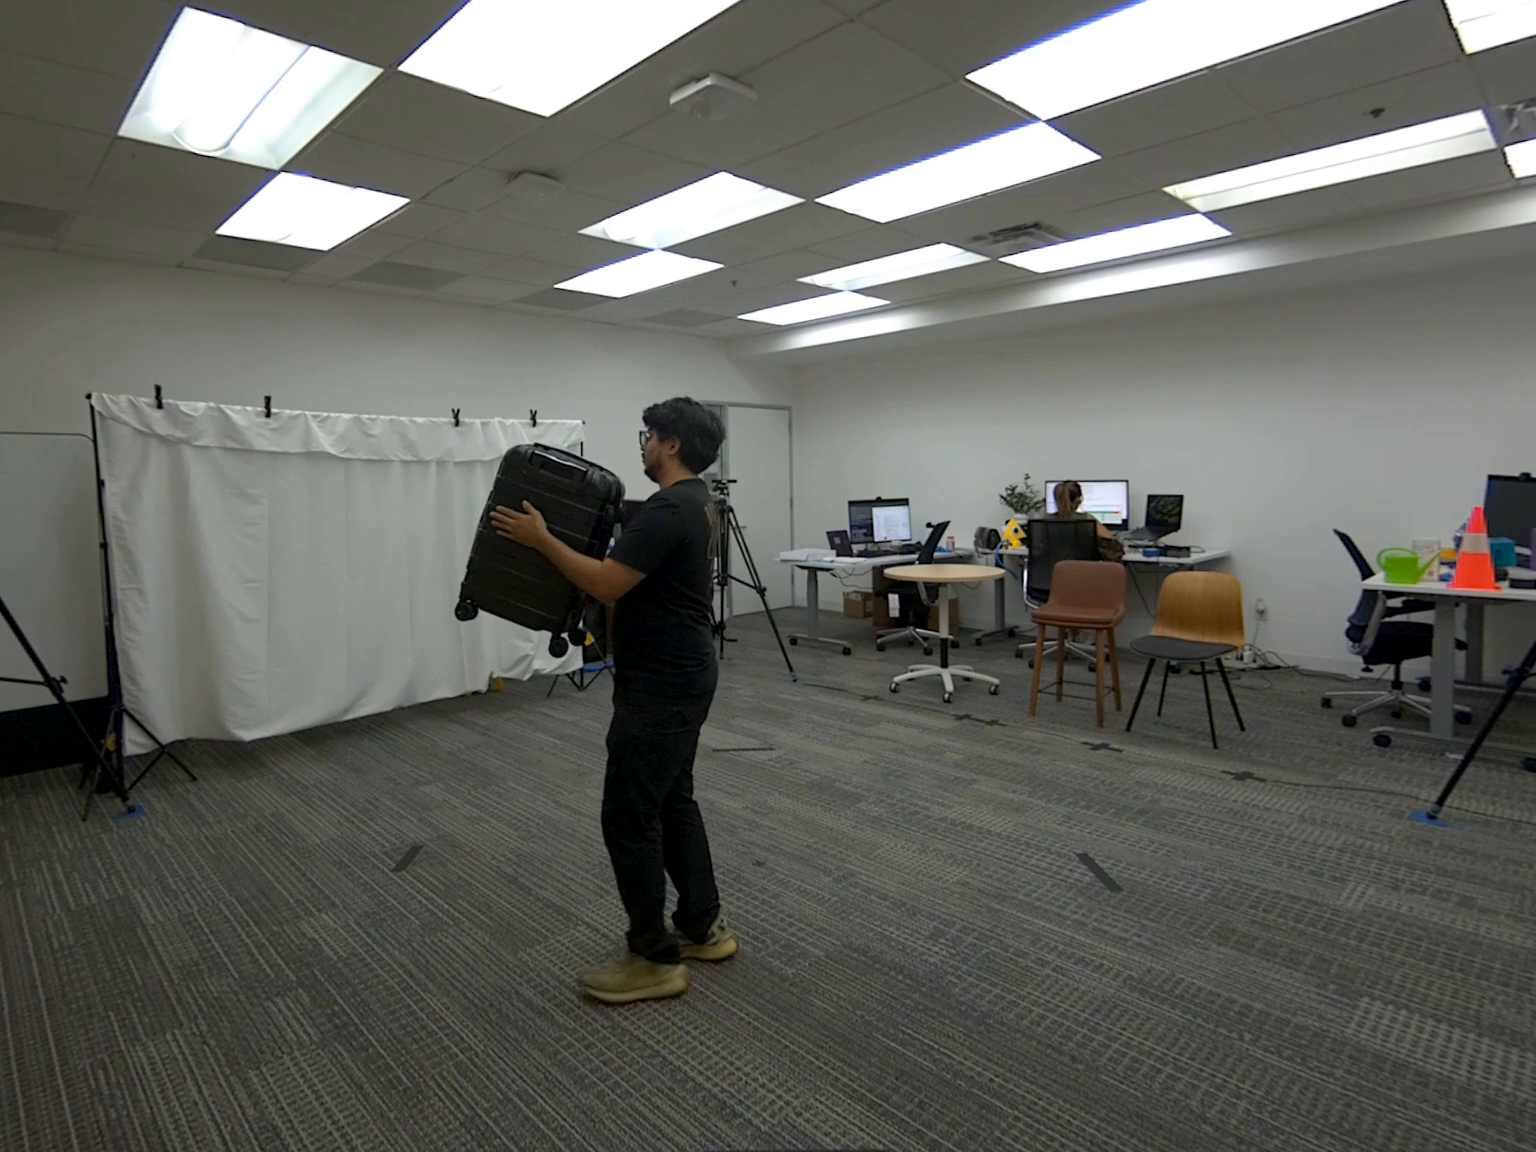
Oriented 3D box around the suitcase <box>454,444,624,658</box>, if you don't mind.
[{"bbox_3d":[-0.659,-0.101,2.516,0.379,0.548,0.246,19,4,7],"label":"suitcase"}]
